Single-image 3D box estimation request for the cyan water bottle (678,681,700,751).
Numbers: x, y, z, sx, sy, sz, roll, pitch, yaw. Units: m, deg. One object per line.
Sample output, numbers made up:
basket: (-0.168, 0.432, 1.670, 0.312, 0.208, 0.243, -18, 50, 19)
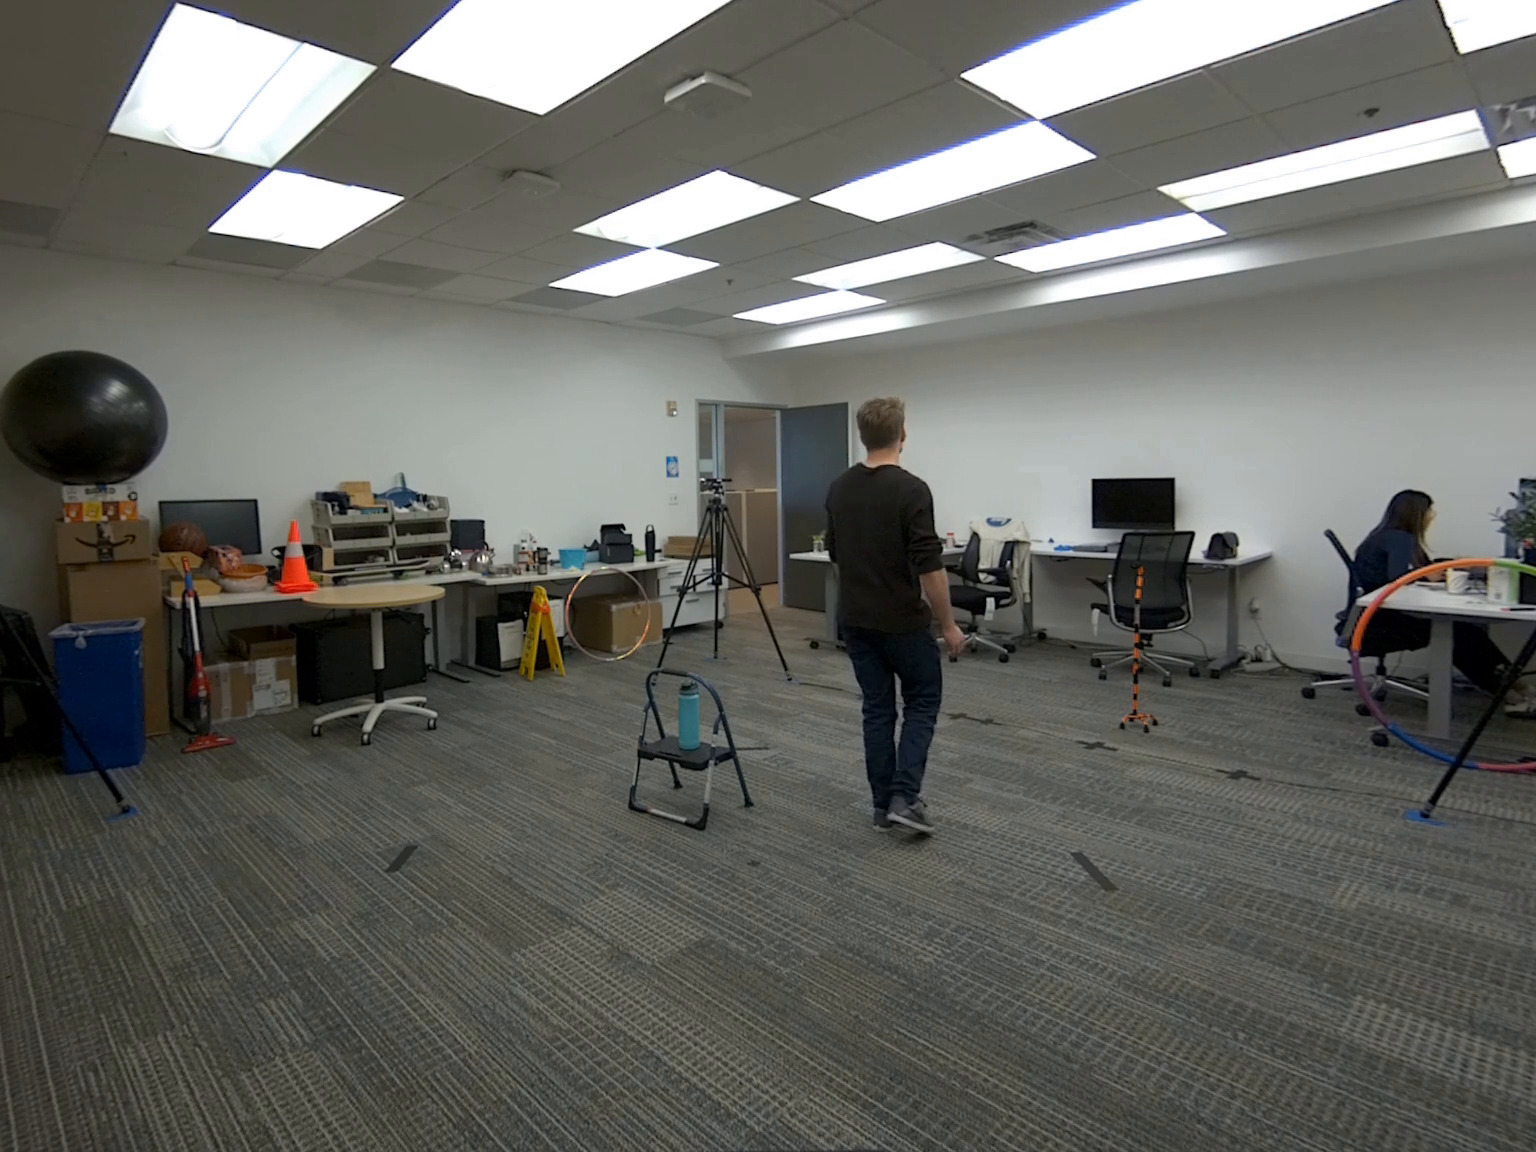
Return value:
cyan water bottle: (-0.335, 0.584, 3.645, 0.092, 0.283, 0.092, -1, 2, -2)
